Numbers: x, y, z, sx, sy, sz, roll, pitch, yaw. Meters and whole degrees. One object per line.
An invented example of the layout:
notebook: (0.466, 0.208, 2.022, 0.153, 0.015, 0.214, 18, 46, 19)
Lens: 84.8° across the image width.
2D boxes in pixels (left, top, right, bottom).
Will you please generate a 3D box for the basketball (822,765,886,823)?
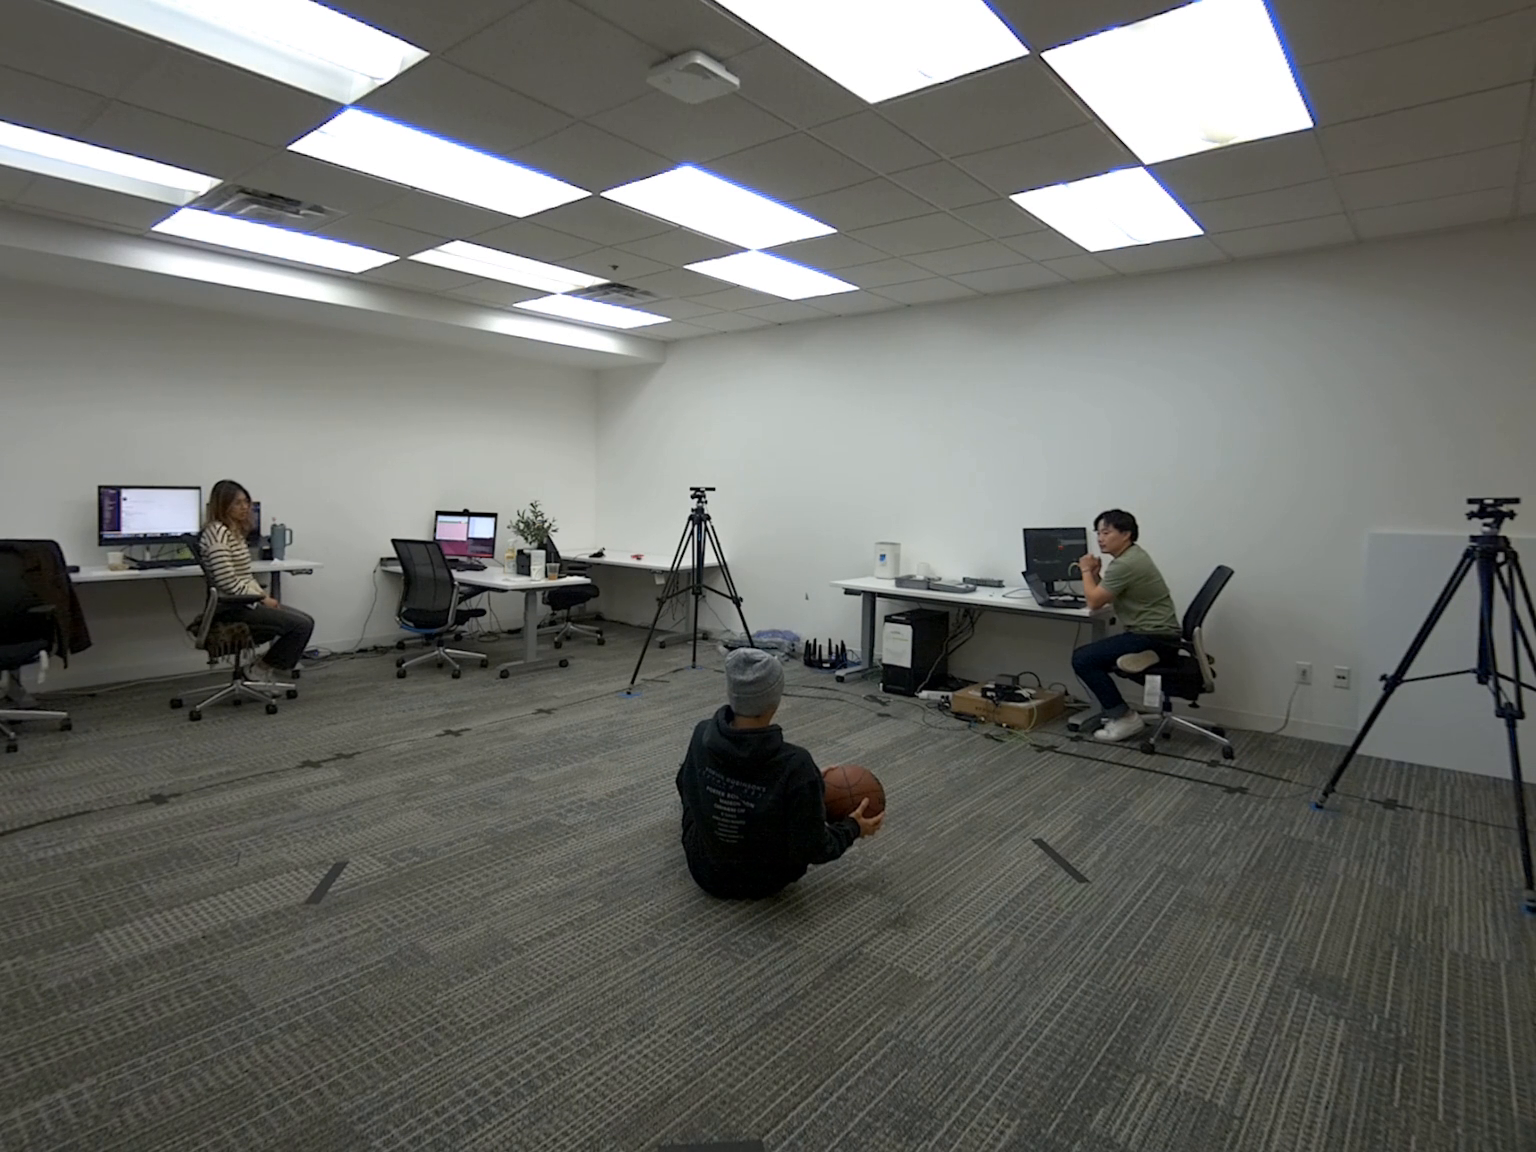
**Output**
basketball: (0.287, 0.795, 3.017, 0.235, 0.235, 0.237, 1, 4, -2)
